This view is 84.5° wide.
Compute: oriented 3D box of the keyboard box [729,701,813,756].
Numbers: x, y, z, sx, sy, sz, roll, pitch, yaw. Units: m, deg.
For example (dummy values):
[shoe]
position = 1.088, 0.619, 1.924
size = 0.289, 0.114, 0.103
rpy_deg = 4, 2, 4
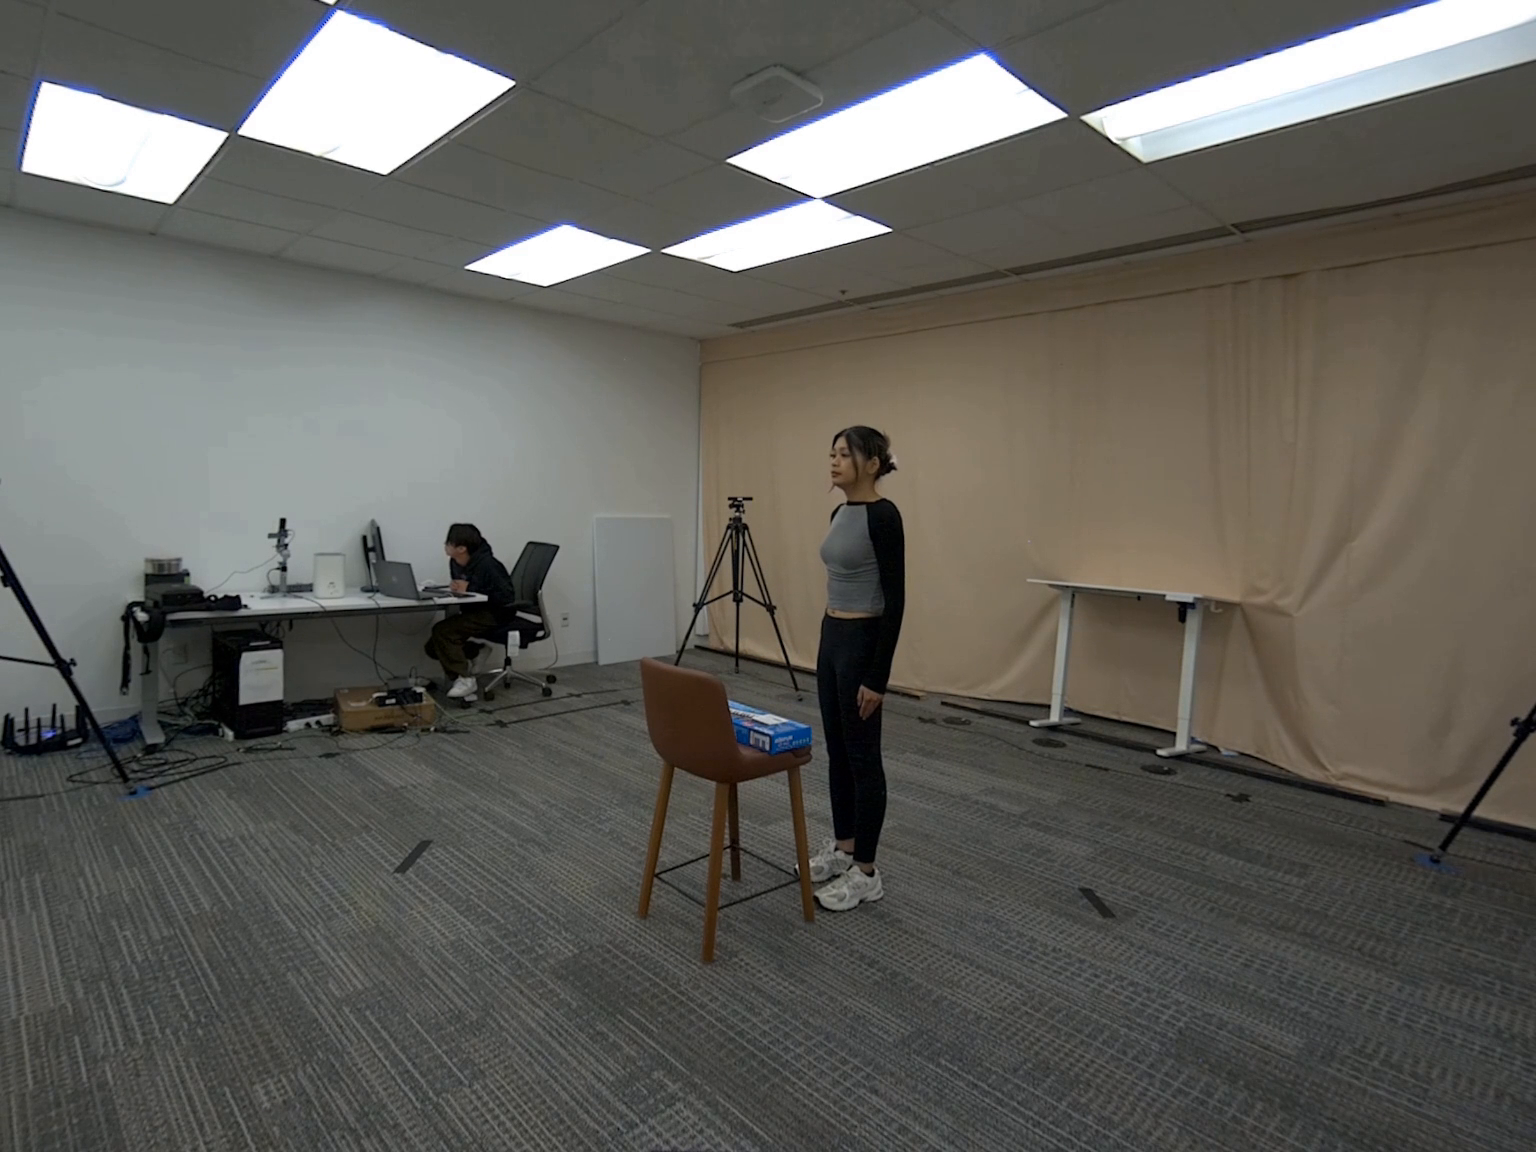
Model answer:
[keyboard box]
position = -0.073, 0.493, 2.789
size = 0.172, 0.059, 0.448
rpy_deg = -3, 7, -40
